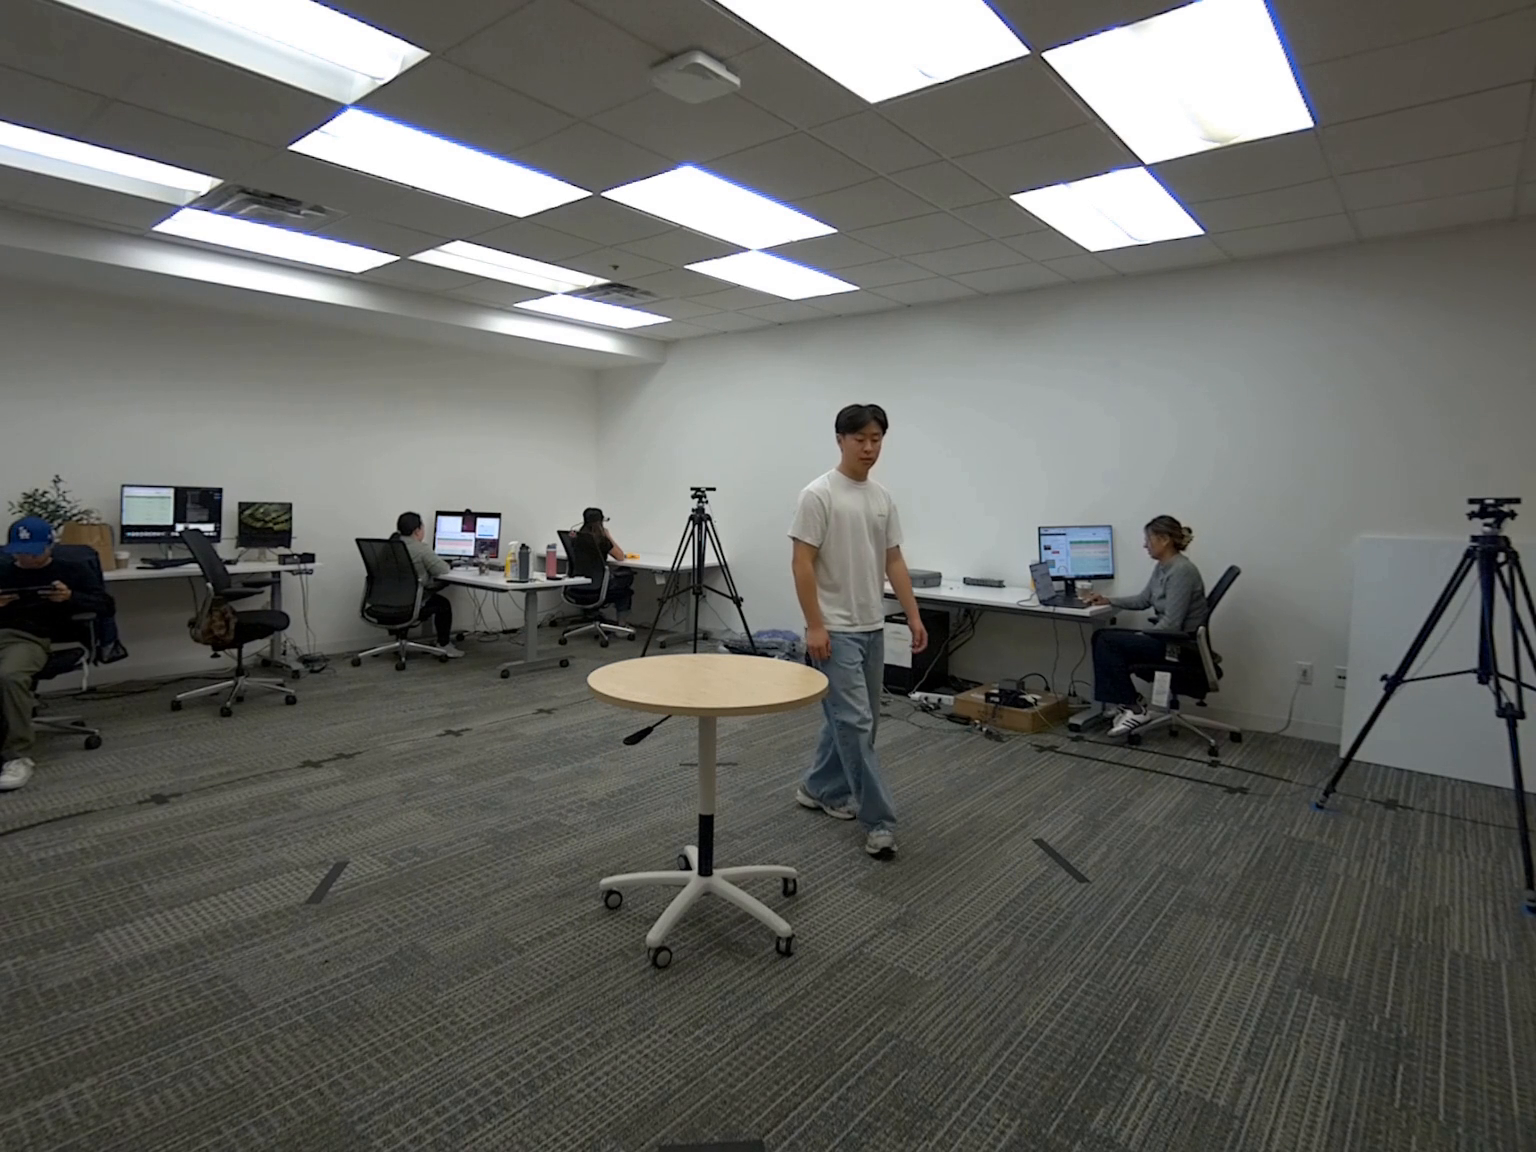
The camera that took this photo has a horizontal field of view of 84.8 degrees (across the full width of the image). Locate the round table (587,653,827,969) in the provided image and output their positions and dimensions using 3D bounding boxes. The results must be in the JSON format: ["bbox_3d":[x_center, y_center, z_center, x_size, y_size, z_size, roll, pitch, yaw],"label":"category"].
[{"bbox_3d":[-0.210,0.714,2.741,0.763,0.791,0.768,1,4,-2],"label":"round table"}]
